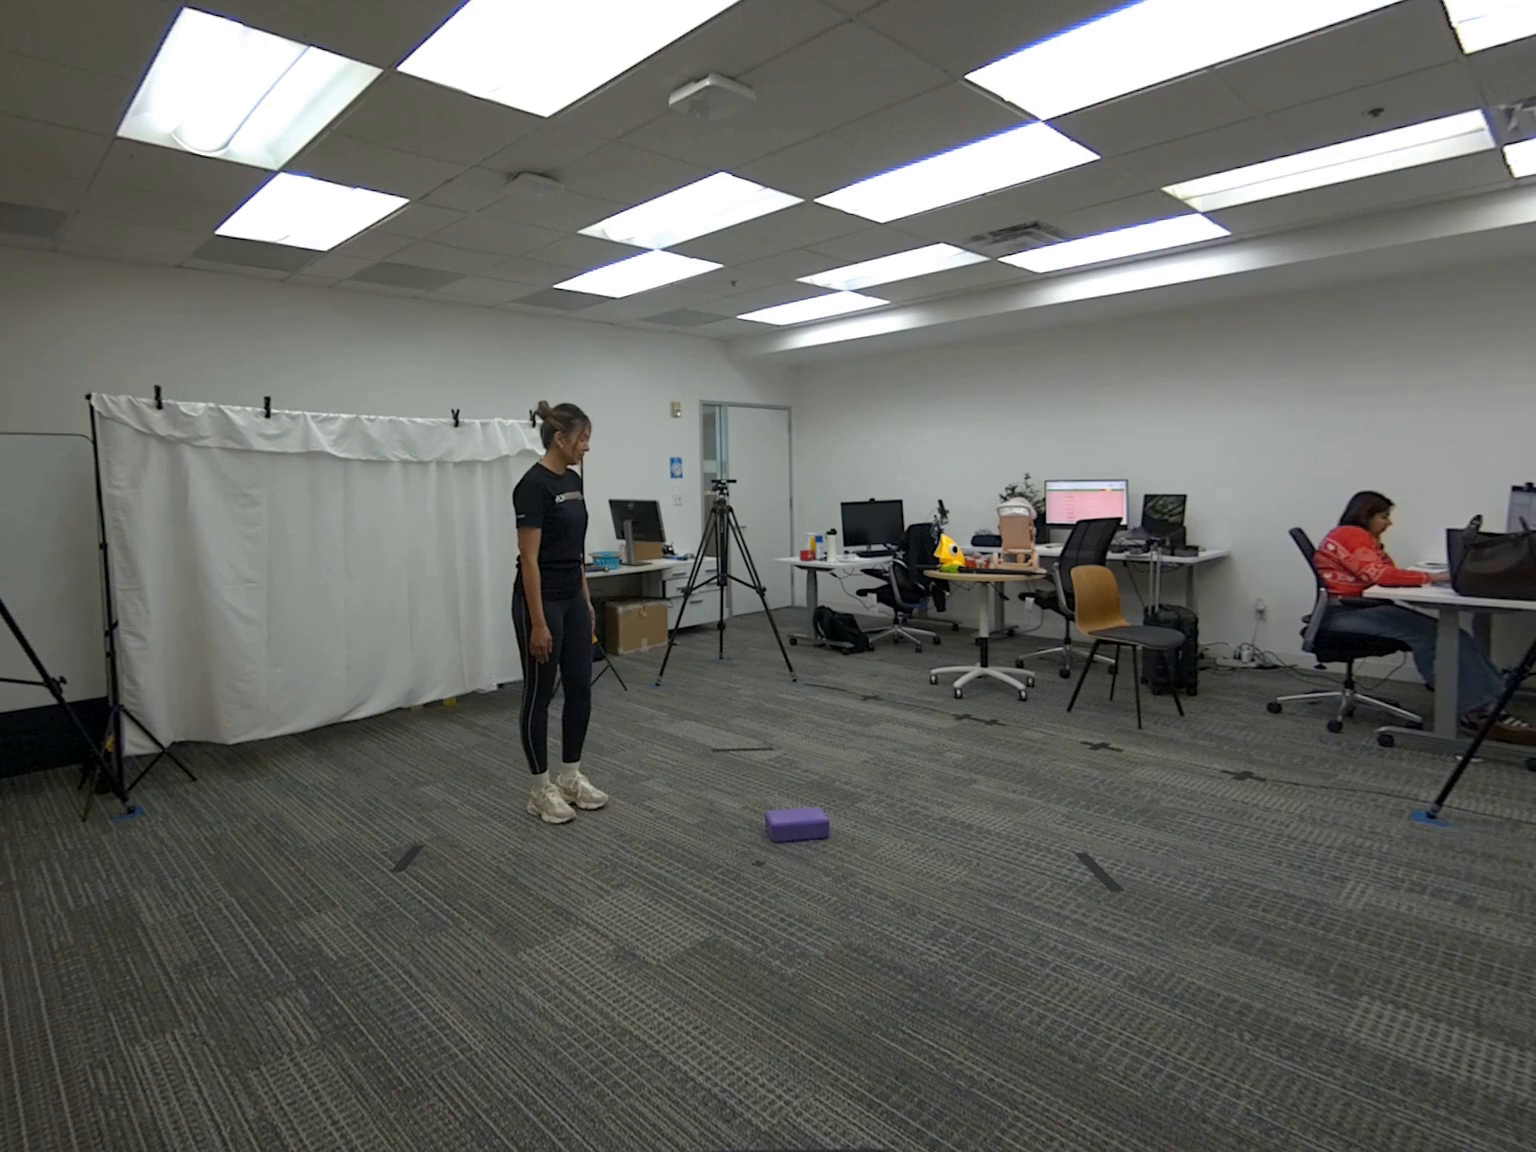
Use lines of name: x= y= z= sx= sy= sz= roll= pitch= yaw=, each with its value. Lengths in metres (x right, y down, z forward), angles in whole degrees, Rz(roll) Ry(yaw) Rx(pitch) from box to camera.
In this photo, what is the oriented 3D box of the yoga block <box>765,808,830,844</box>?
yoga block: x=0.115 y=0.978 z=3.360 sx=0.227 sy=0.076 sz=0.151 roll=-2 pitch=7 yaw=-9
